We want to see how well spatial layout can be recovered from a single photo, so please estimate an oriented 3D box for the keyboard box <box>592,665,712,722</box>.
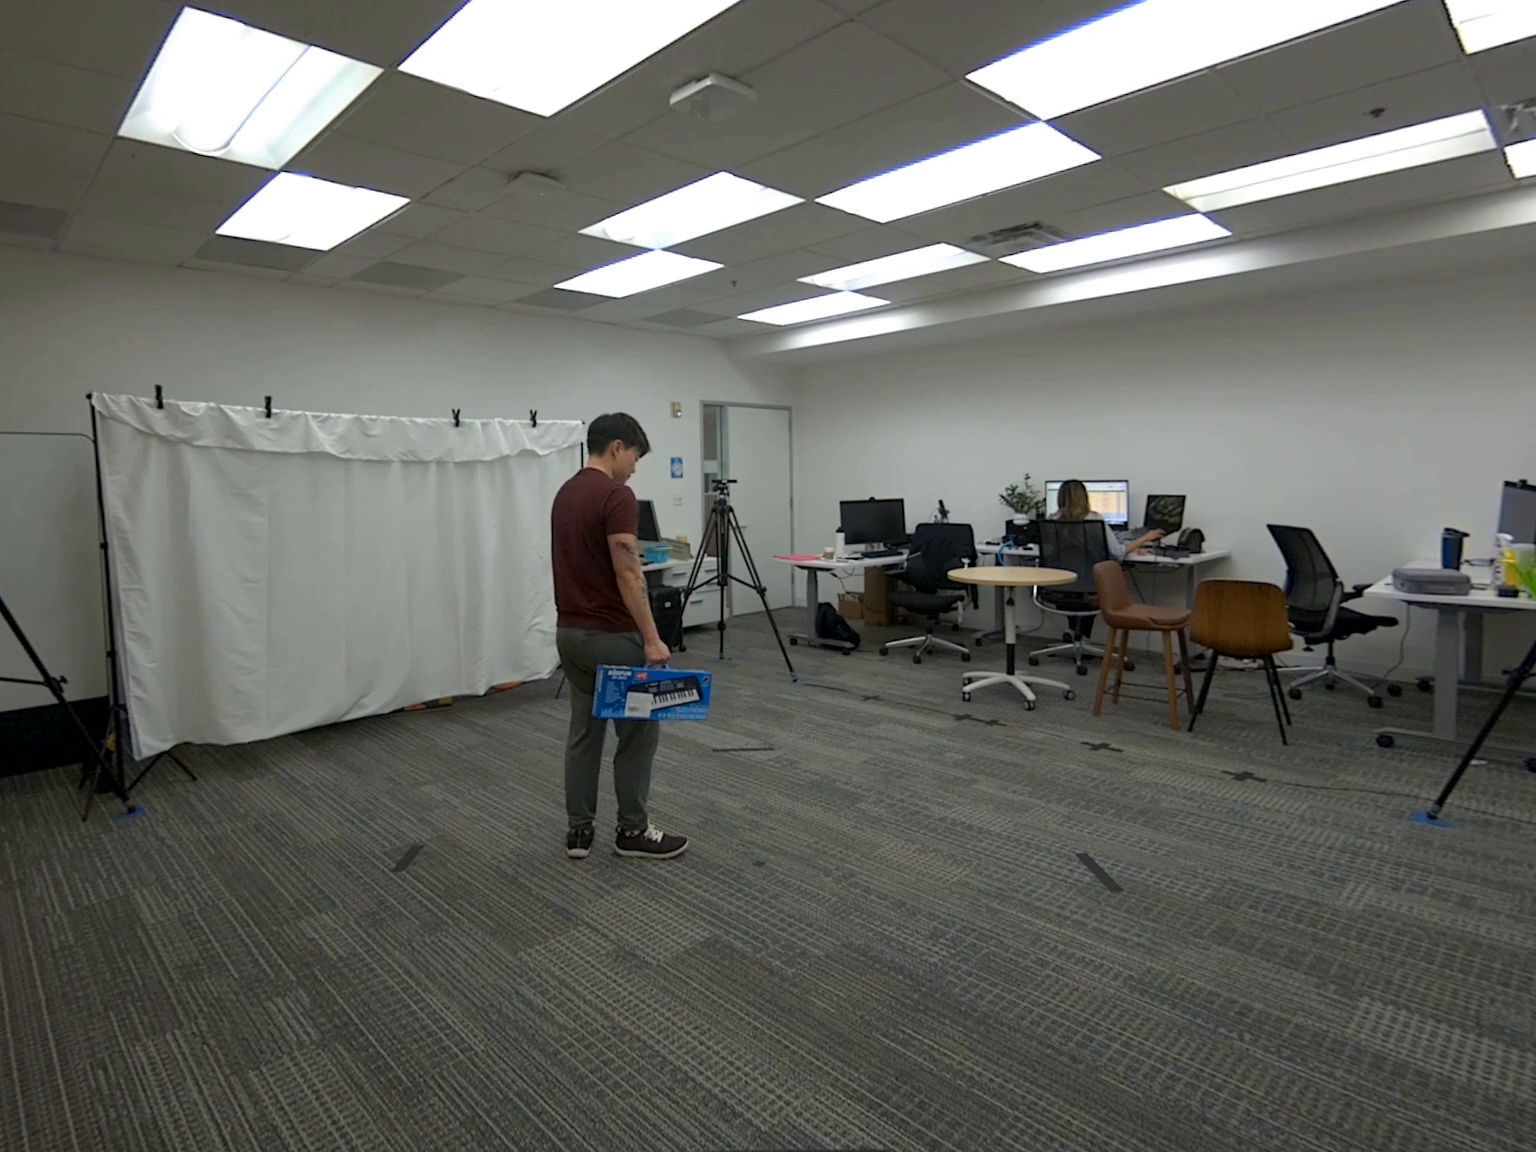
[{"bbox_3d":[-0.398,0.414,3.008,0.424,0.176,0.061,8,-4,-35],"label":"keyboard box"}]
